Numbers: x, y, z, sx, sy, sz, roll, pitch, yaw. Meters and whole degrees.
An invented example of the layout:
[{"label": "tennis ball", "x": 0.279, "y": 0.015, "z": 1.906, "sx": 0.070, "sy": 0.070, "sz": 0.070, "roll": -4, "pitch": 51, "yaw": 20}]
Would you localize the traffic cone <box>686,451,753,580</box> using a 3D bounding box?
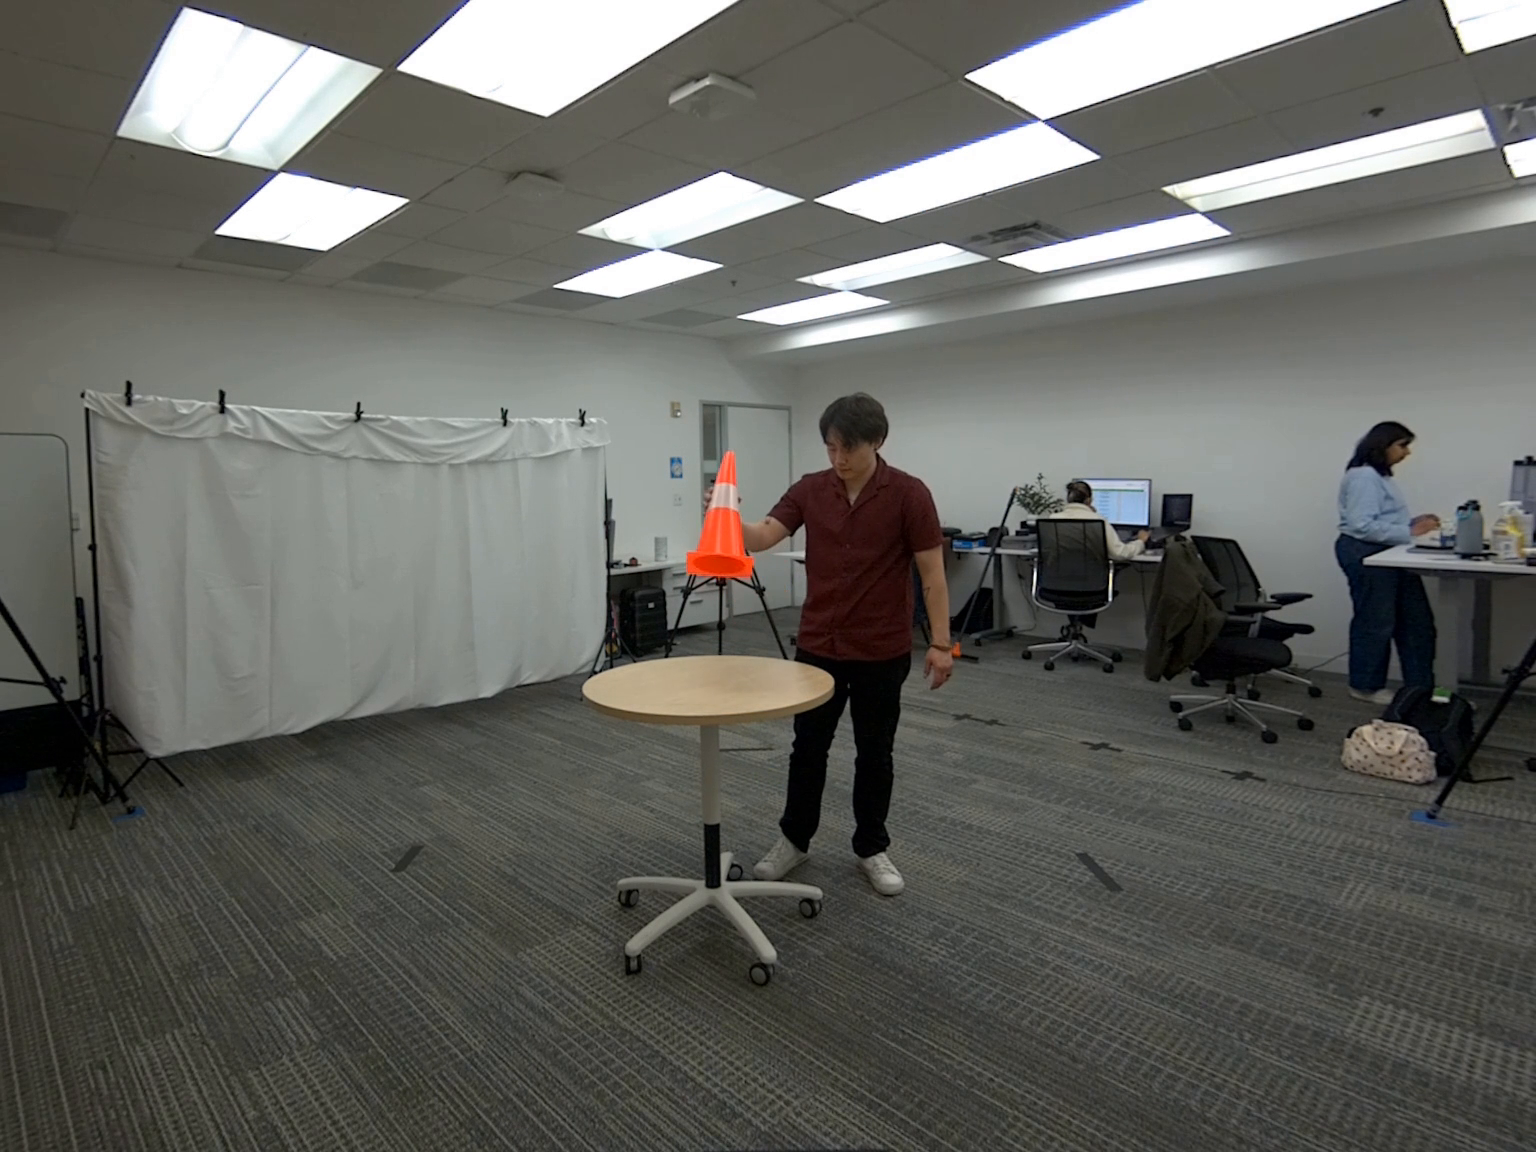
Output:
[{"label": "traffic cone", "x": -0.133, "y": -0.195, "z": 2.621, "sx": 0.199, "sy": 0.390, "sz": 0.206, "roll": 13, "pitch": -24, "yaw": -21}]
